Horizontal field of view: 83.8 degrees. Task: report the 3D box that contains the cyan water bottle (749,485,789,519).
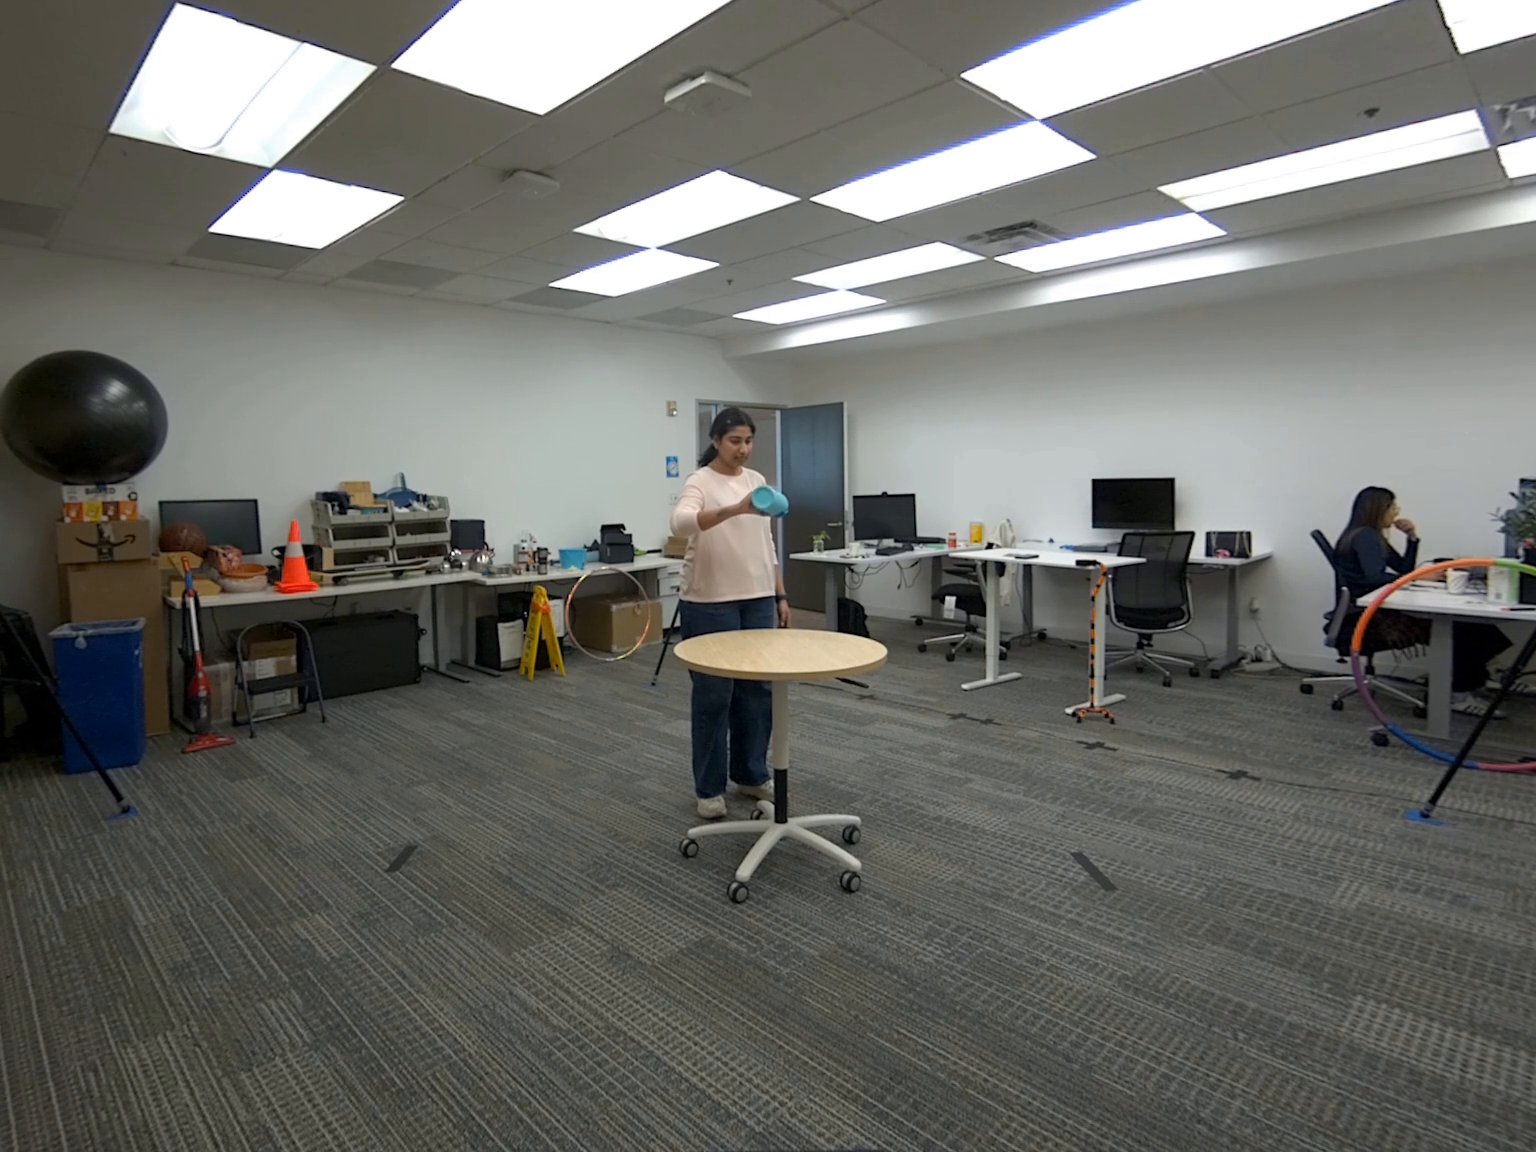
[{"bbox_3d":[0.016,-0.275,3.224,0.093,0.093,0.278,0,-3,13],"label":"cyan water bottle"}]
